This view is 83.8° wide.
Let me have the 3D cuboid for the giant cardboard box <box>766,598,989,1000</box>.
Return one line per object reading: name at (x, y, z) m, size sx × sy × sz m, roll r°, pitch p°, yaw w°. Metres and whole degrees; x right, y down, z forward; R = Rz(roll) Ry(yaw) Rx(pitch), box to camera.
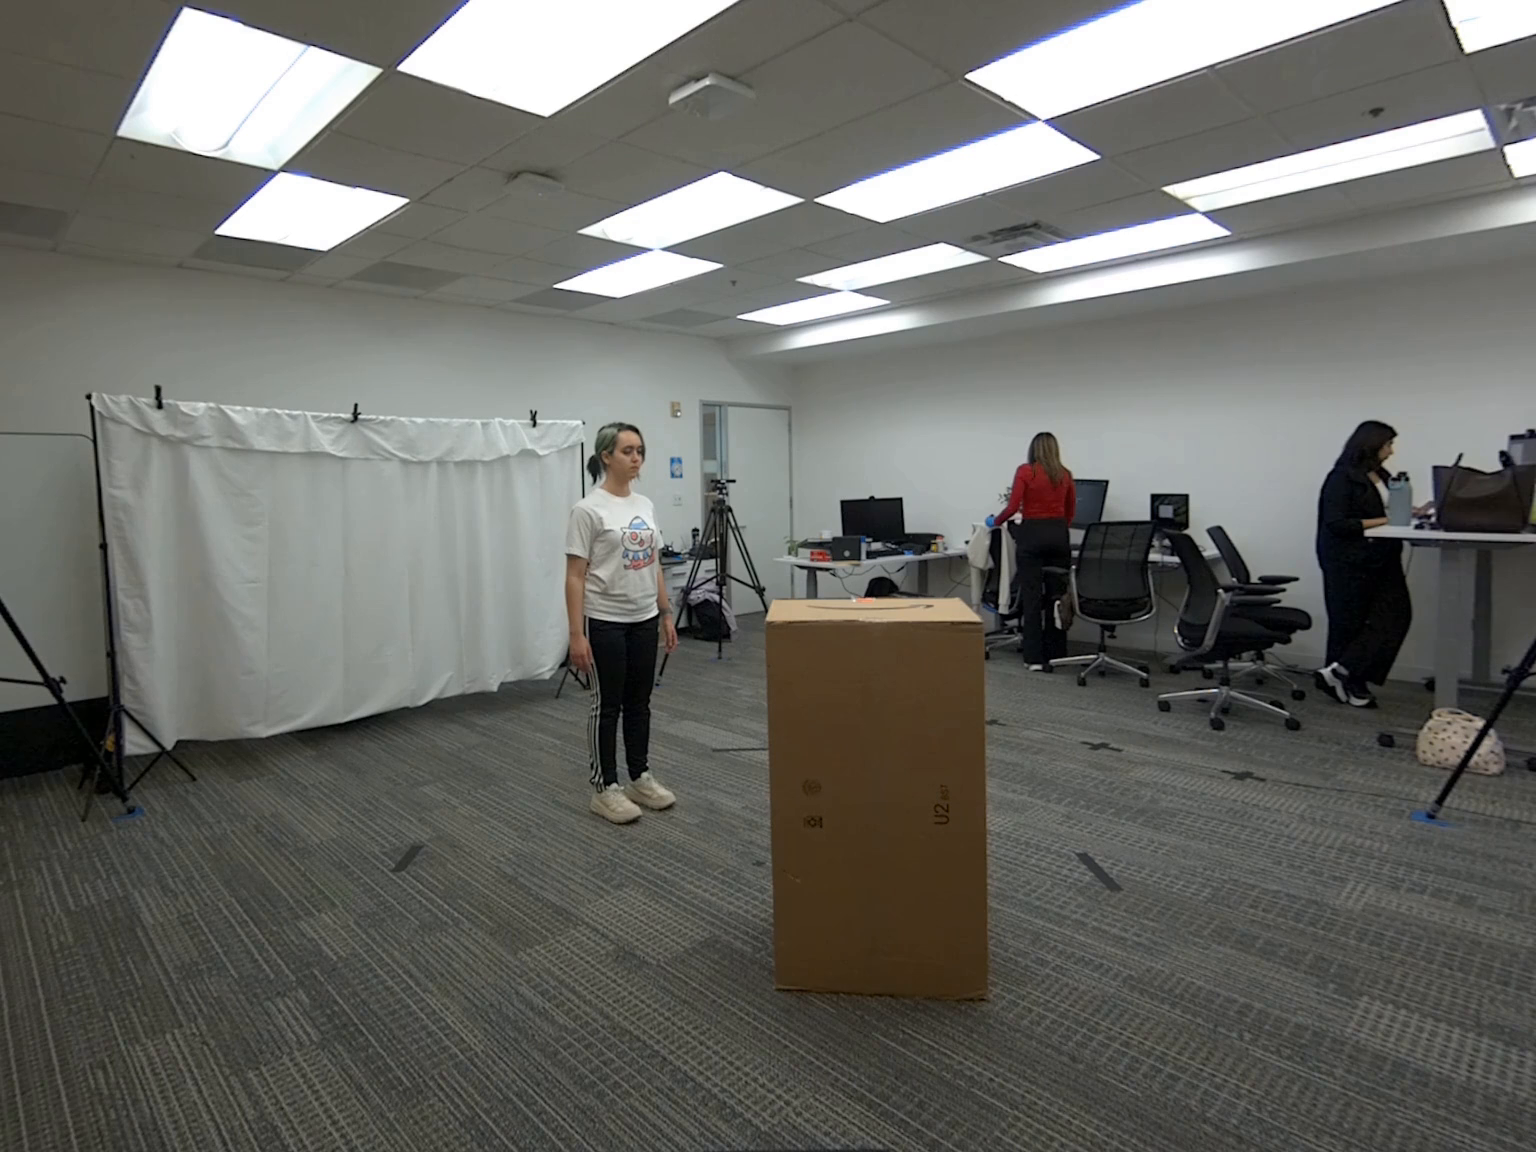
giant cardboard box at (0.308, 0.603, 2.481) m, size 0.587 × 1.023 × 0.446 m, roll -1°, pitch 4°, yaw 5°
